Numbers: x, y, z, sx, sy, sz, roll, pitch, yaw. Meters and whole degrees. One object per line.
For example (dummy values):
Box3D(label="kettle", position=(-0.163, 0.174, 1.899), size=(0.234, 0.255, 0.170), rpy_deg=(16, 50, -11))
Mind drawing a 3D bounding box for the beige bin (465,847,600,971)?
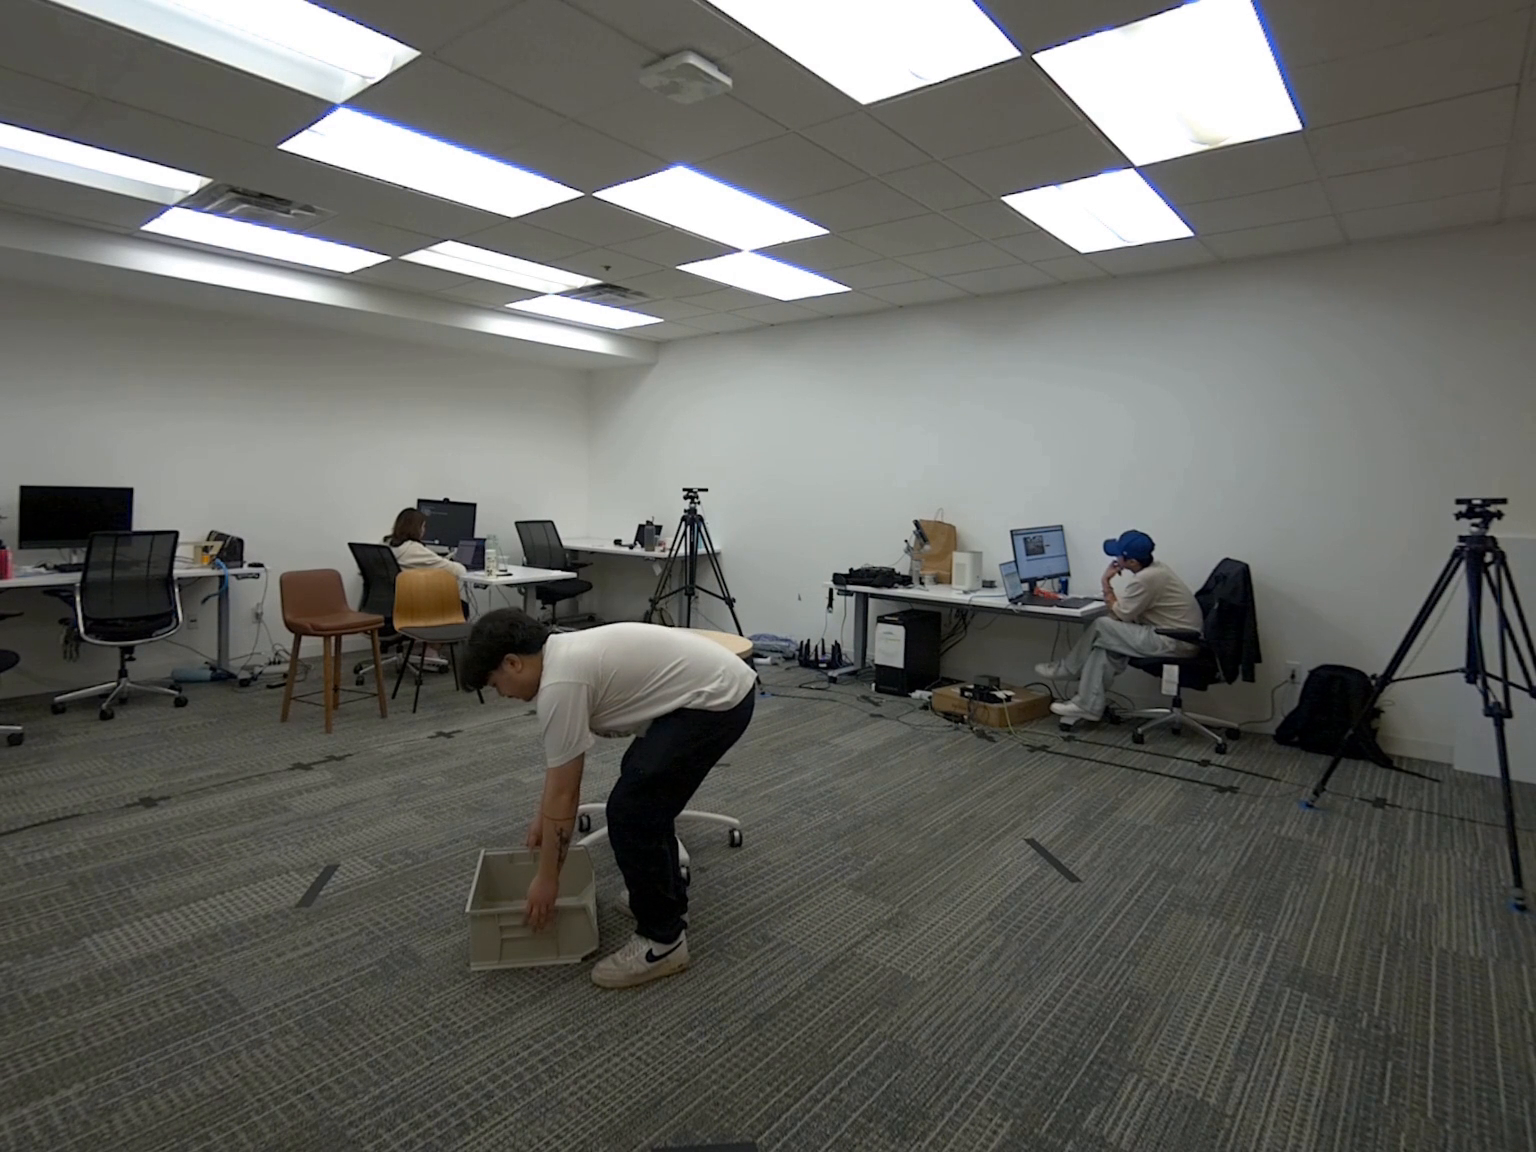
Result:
Box3D(label="beige bin", position=(-0.728, 1.013, 2.655), size=(0.373, 0.188, 0.429), rpy_deg=(-1, 6, -11))
